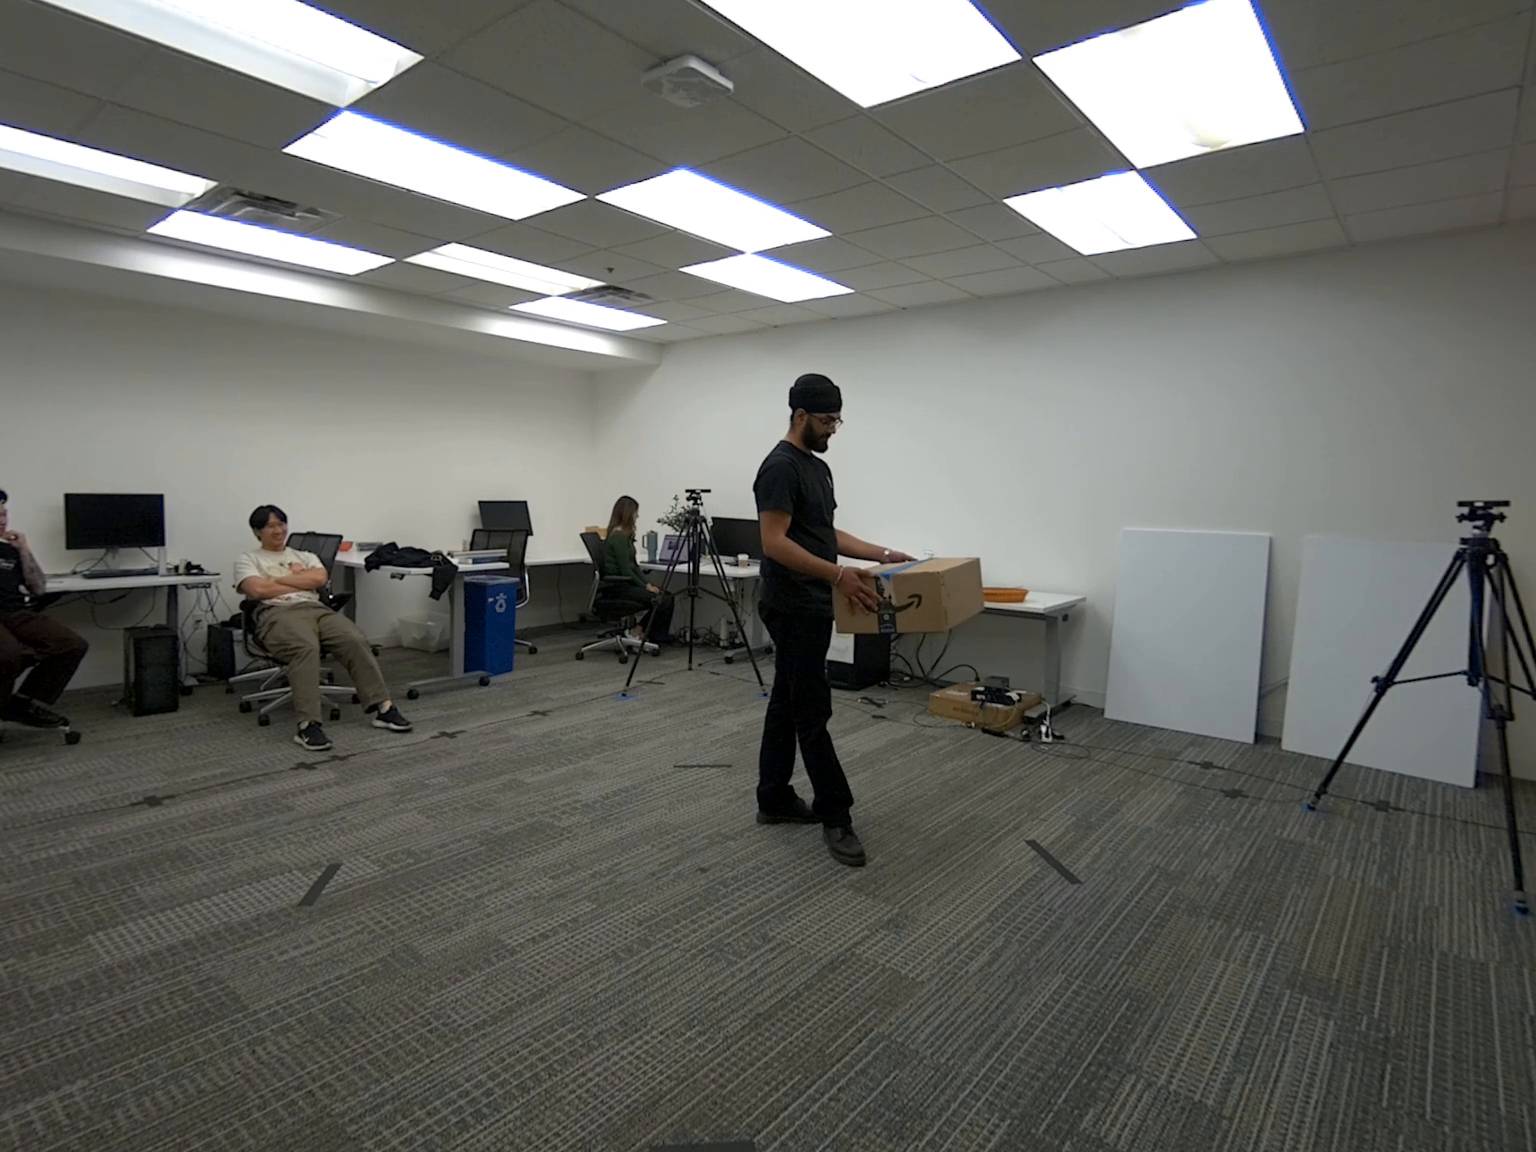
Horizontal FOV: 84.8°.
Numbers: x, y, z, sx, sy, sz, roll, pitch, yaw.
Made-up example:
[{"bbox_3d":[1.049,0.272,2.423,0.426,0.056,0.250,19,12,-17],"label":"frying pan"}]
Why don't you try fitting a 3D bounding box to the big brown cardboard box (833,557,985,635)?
[{"bbox_3d":[0.546,0.066,3.308,0.428,0.232,0.576,-4,5,30],"label":"big brown cardboard box"}]
